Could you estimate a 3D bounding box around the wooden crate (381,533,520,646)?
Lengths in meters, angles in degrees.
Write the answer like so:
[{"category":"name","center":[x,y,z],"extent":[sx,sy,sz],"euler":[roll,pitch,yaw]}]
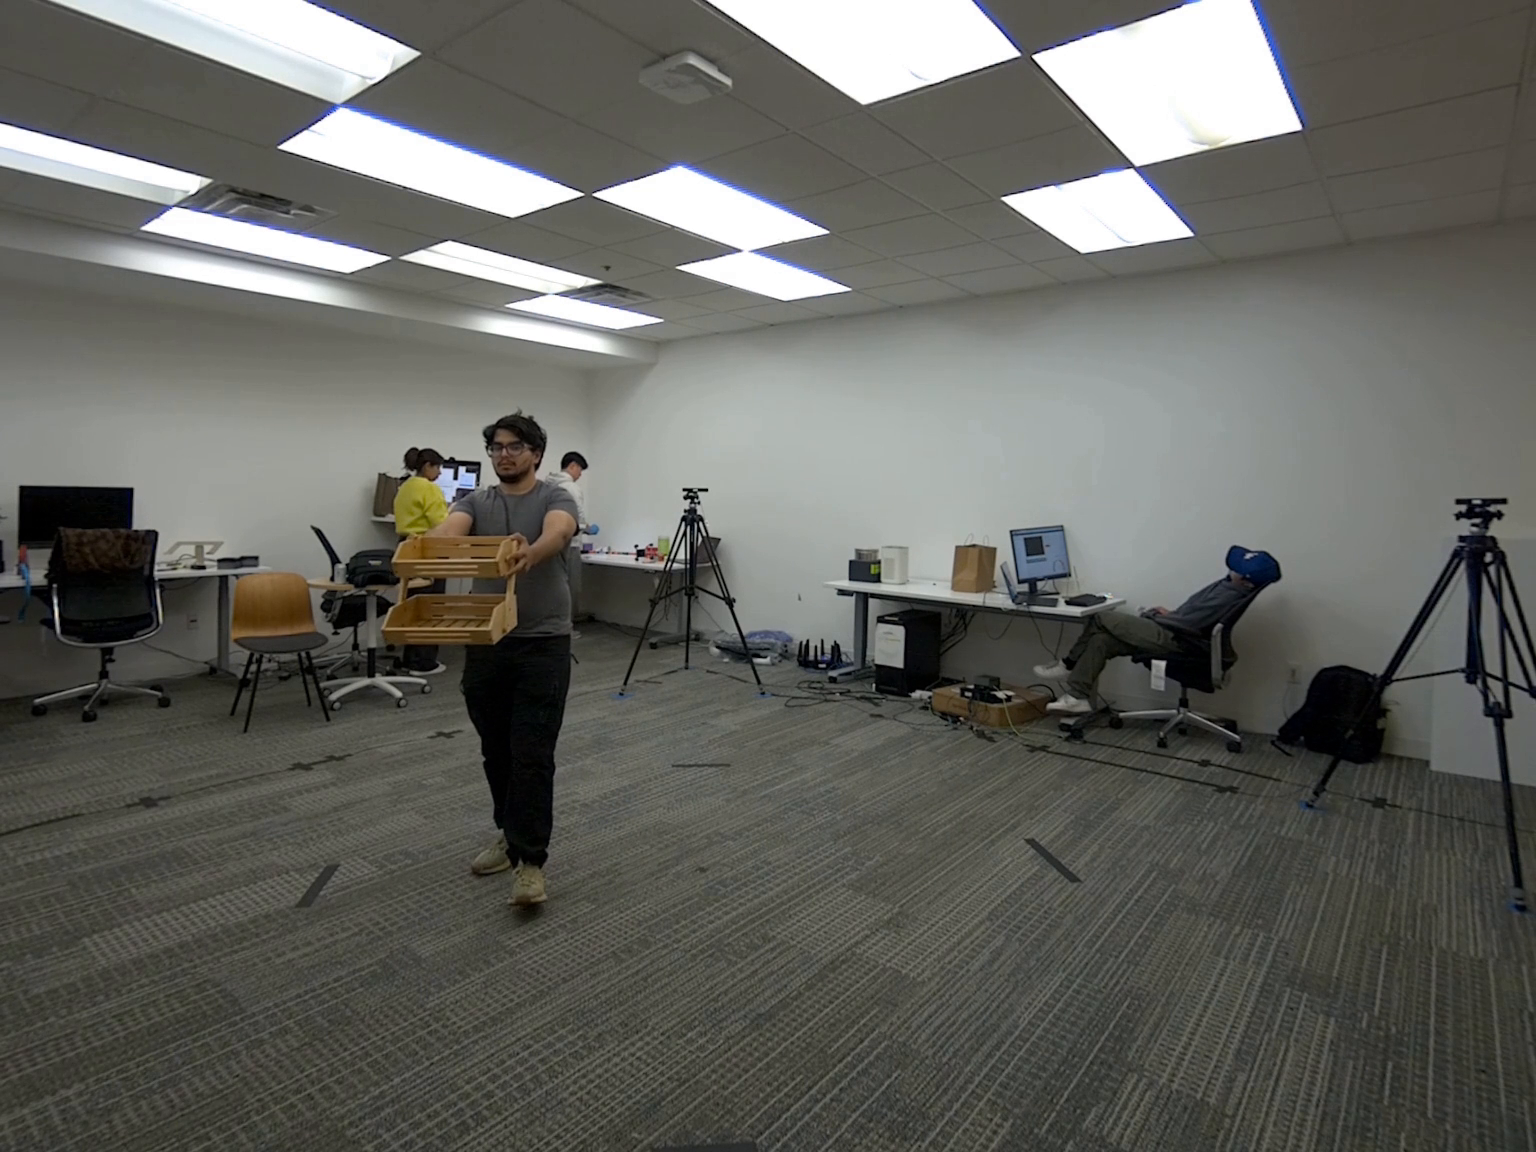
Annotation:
[{"category":"wooden crate","center":[-0.906,0.027,2.418],"extent":[0.325,0.271,0.304],"euler":[0,8,1]}]
